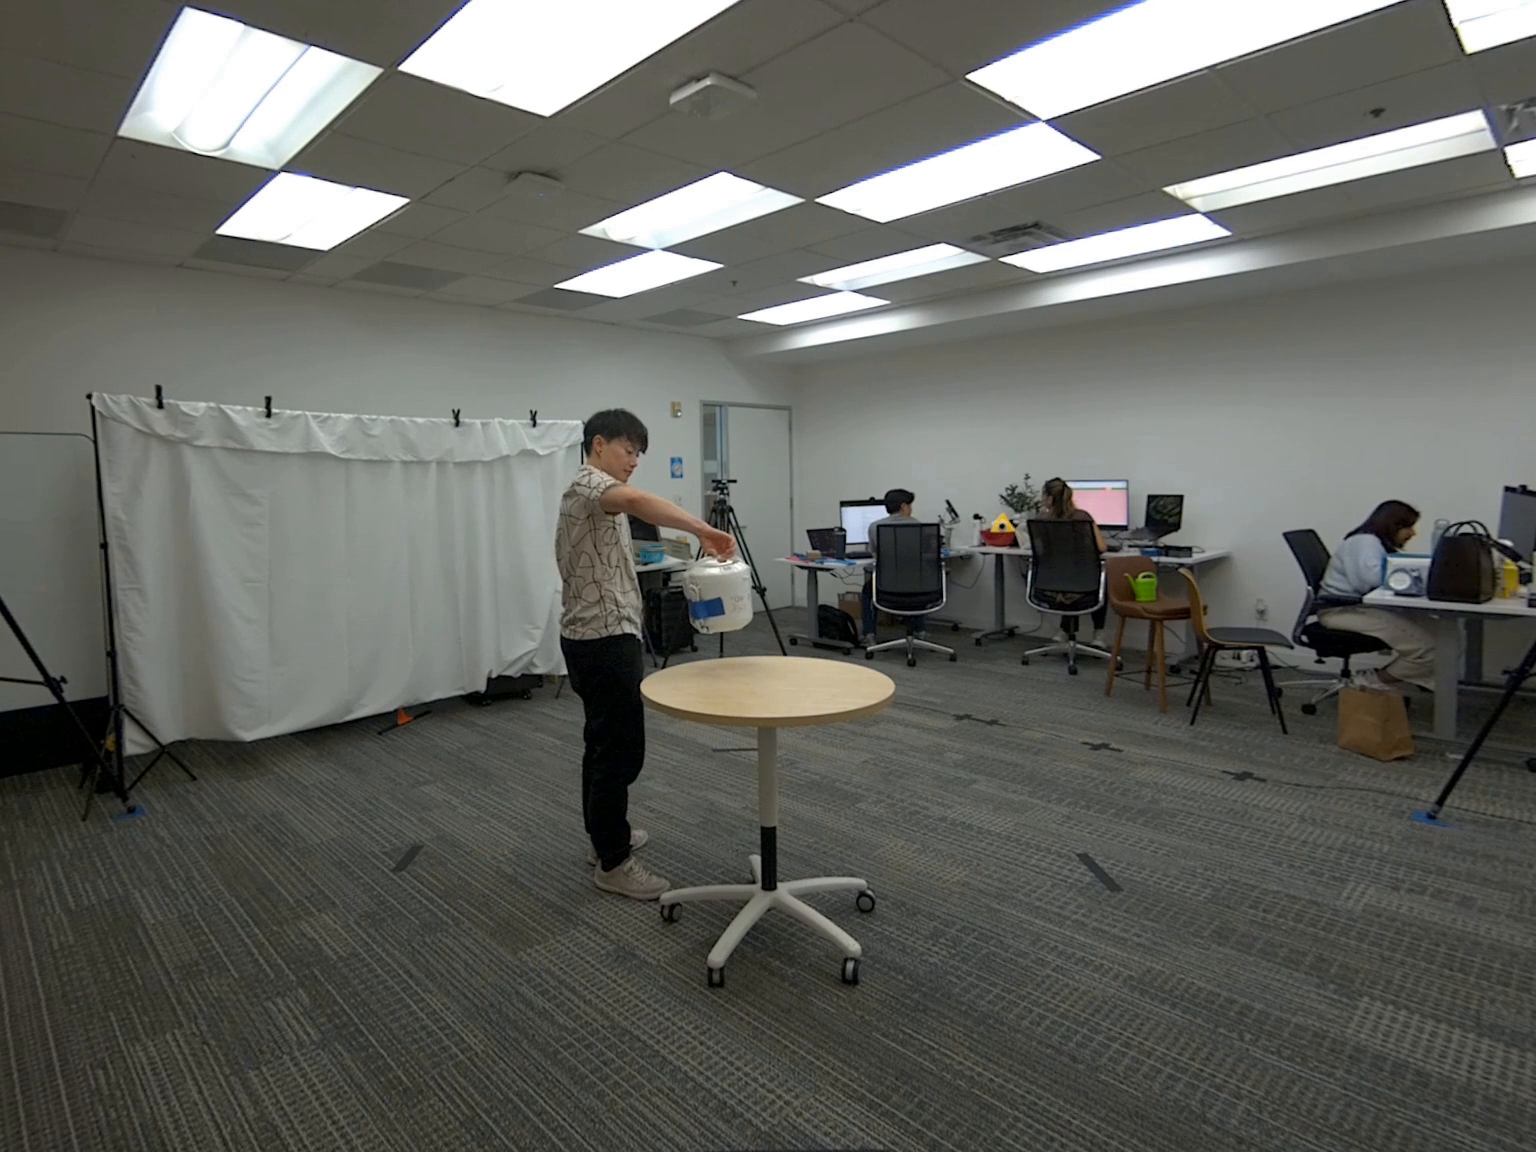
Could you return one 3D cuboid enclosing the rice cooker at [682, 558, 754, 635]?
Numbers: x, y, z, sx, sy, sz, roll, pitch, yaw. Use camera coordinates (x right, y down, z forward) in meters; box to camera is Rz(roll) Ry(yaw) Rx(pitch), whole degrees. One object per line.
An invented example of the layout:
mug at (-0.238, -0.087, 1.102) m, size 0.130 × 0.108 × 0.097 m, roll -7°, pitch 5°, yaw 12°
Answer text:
rice cooker at (-0.157, 0.047, 2.741) m, size 0.219 × 0.231 × 0.221 m, roll -6°, pitch 8°, yaw -9°
